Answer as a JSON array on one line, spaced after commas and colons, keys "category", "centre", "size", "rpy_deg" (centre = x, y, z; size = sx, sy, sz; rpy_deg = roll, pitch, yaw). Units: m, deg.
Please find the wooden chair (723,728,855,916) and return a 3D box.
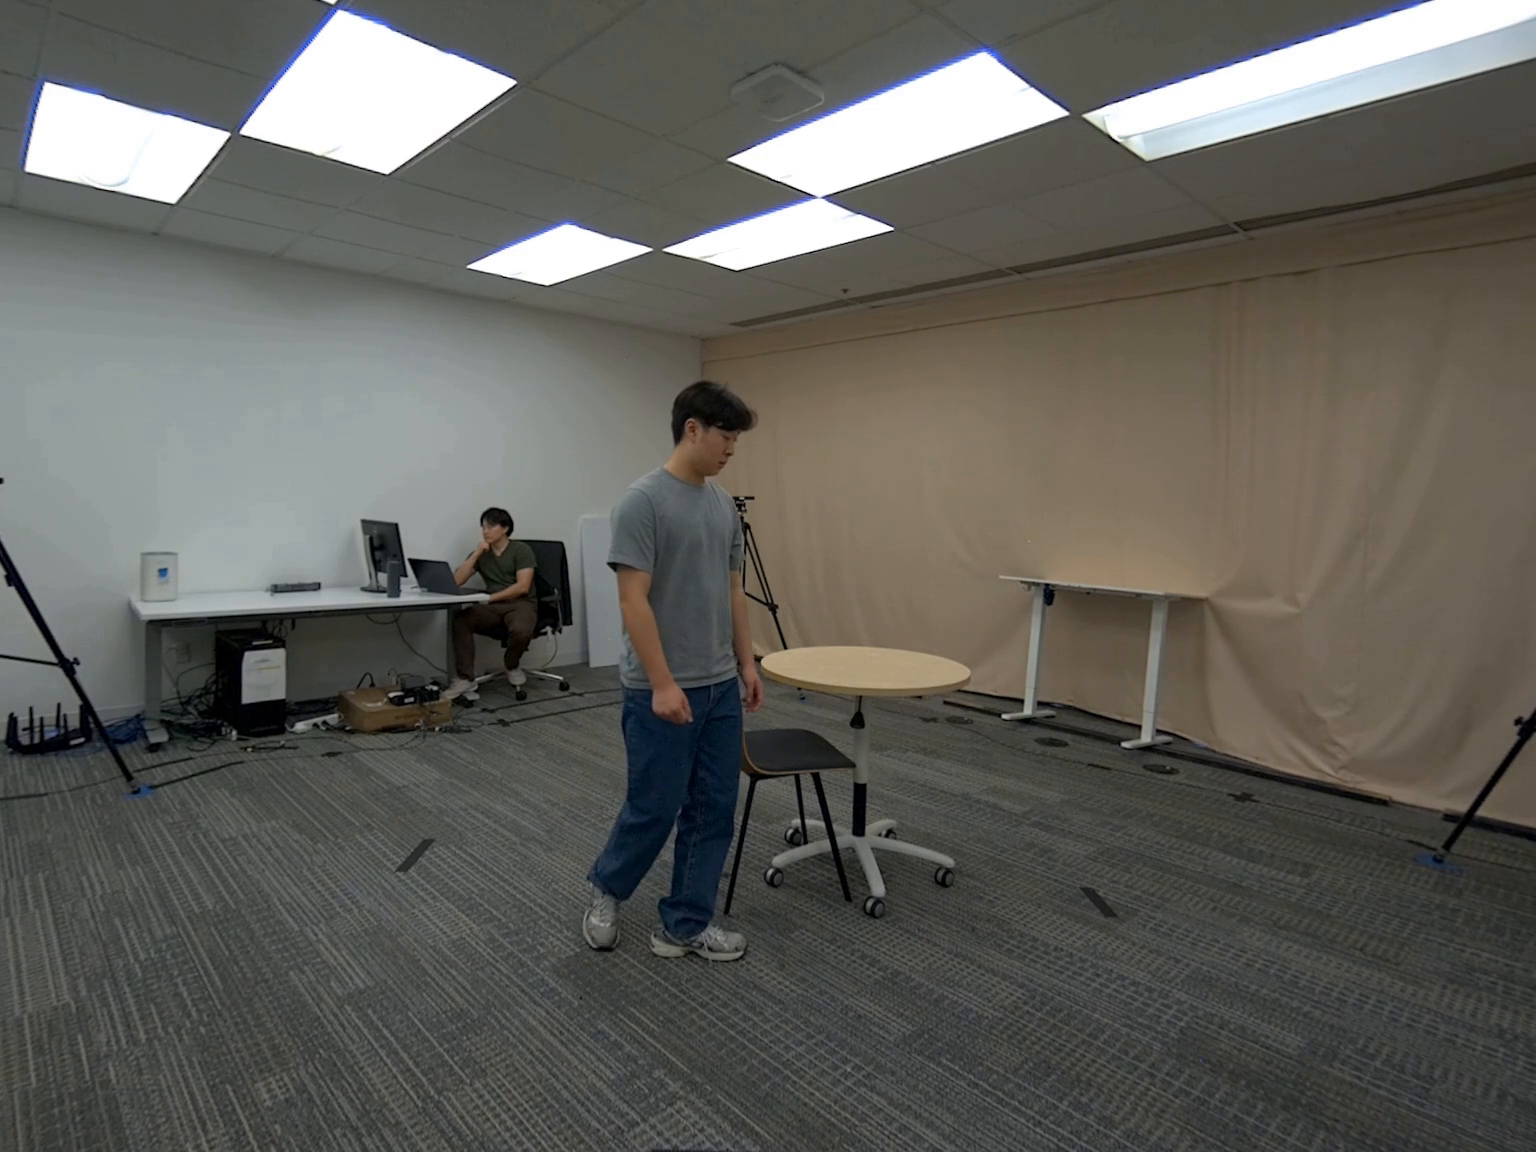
[{"category": "wooden chair", "centre": [0.016, 0.685, 3.045], "size": [0.517, 0.874, 0.485], "rpy_deg": [-4, 5, -16]}]
